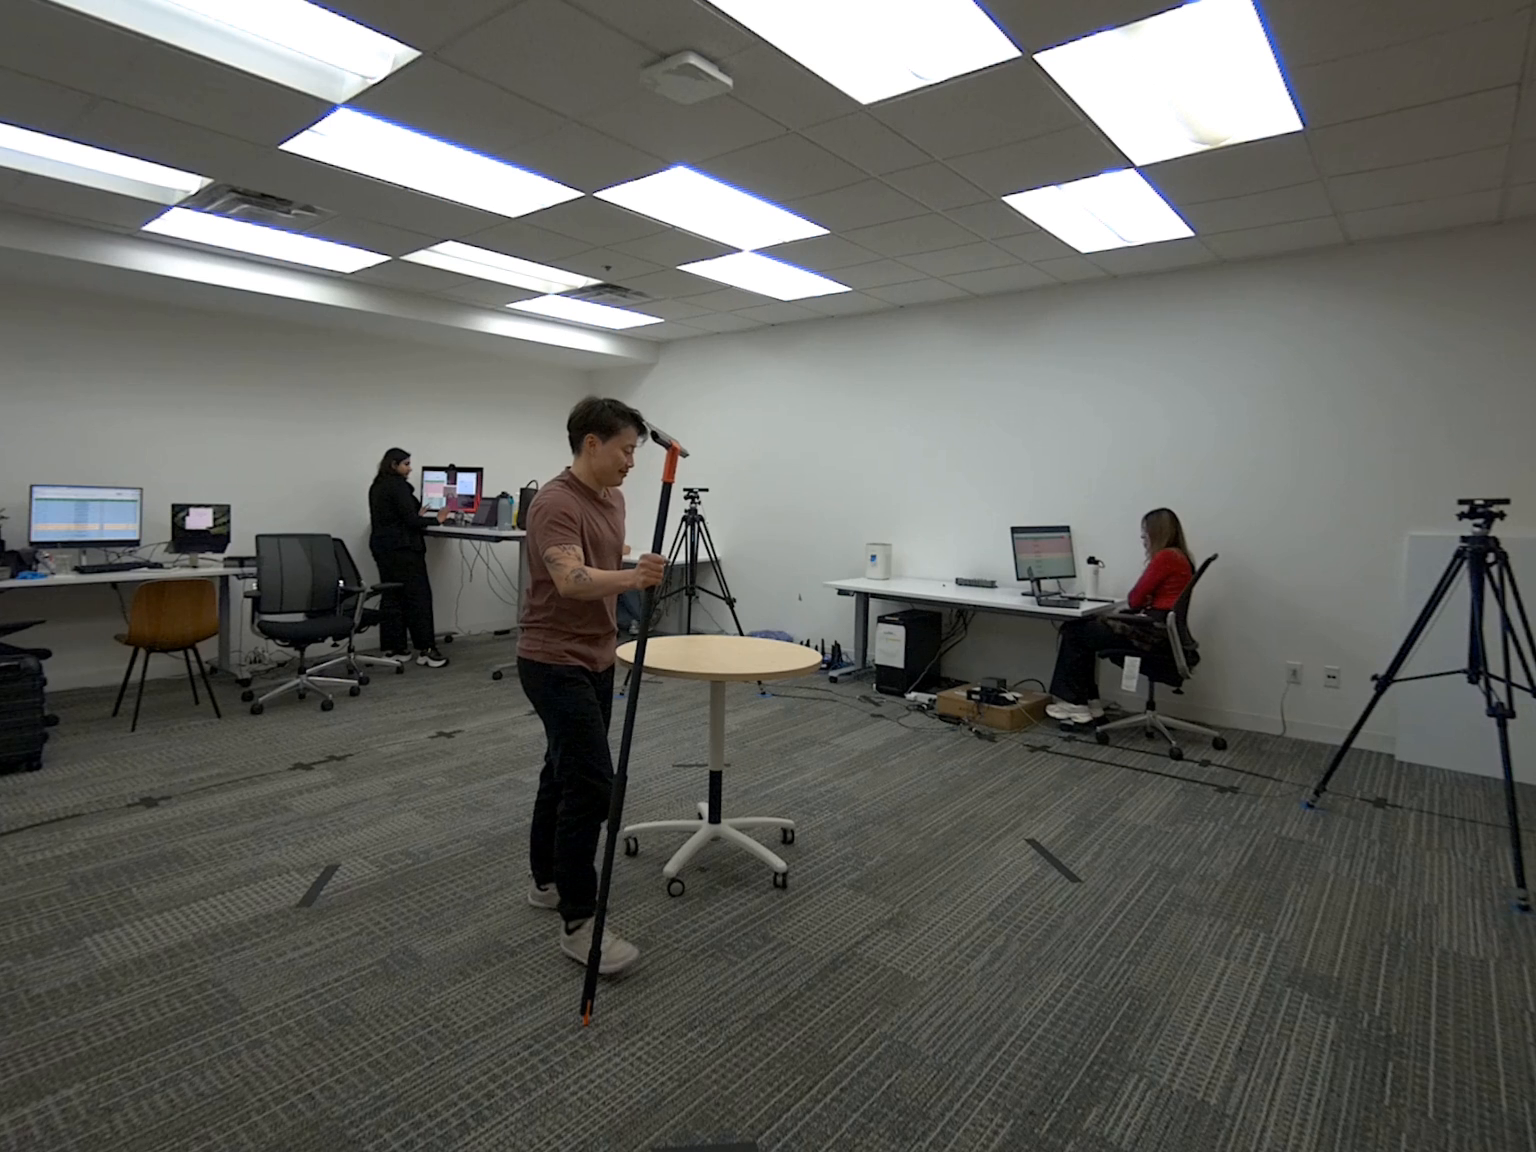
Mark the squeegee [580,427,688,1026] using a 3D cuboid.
[{"bbox_3d":[-0.360,0.396,2.193,0.053,1.536,0.432,8,1,9],"label":"squeegee"}]
